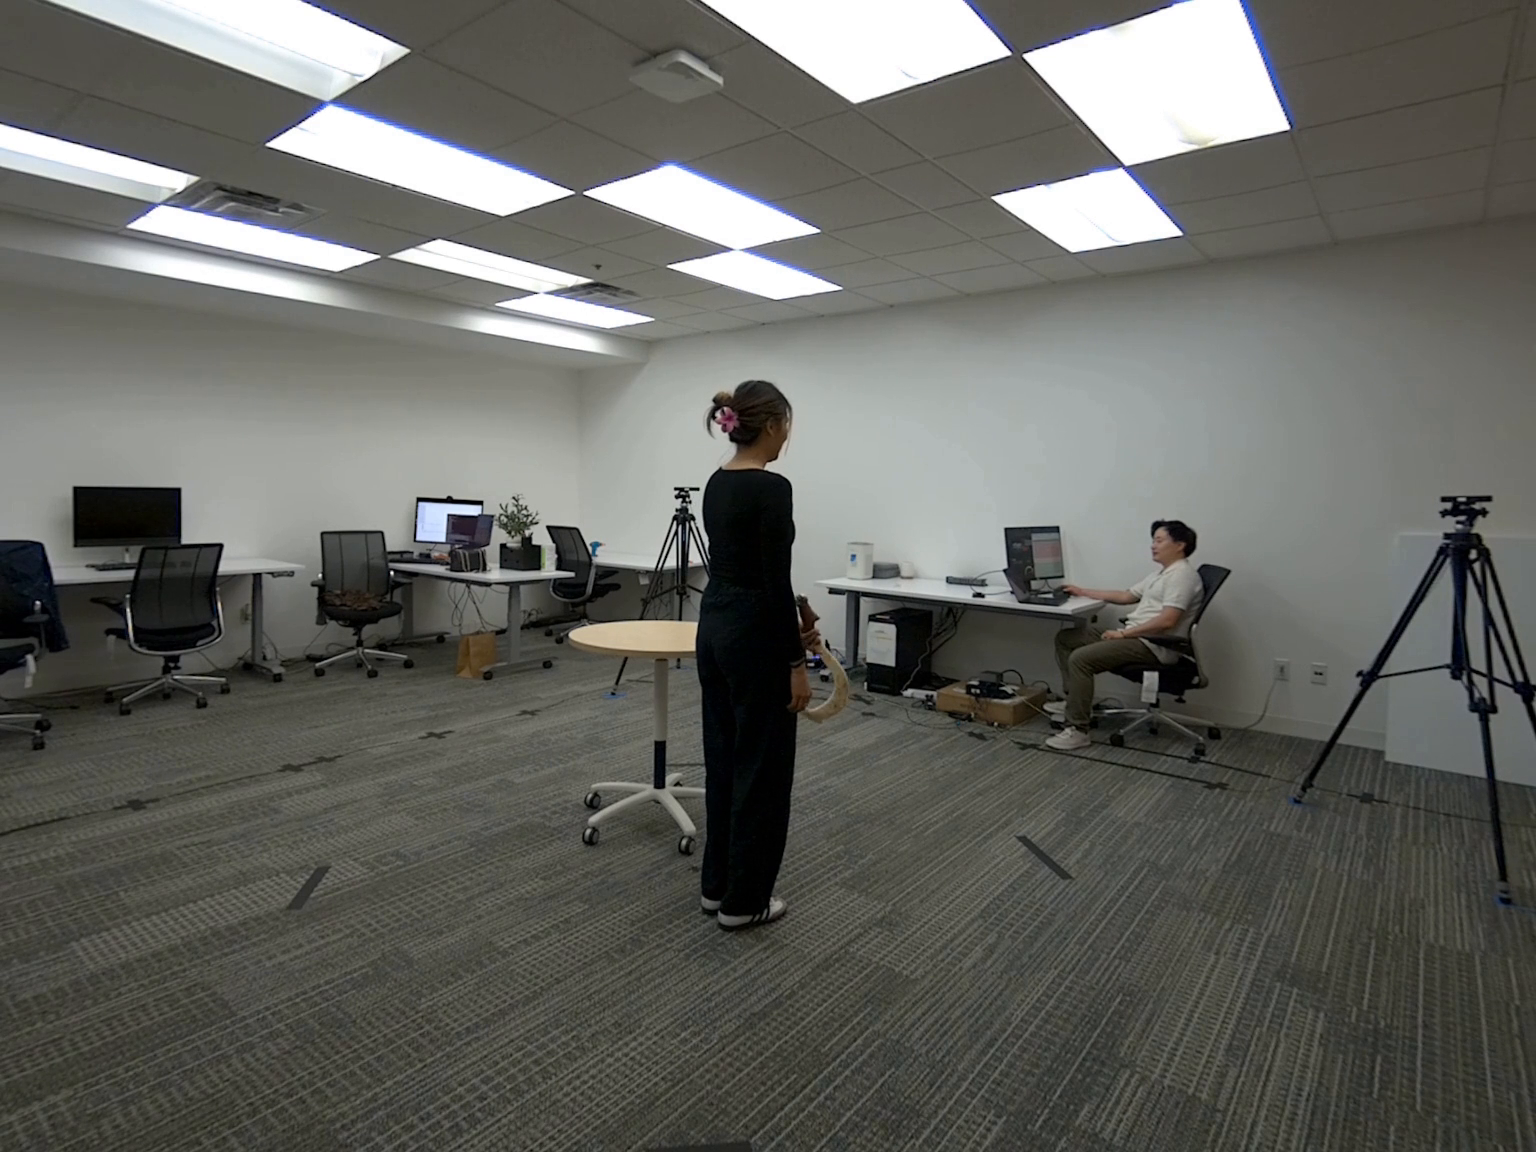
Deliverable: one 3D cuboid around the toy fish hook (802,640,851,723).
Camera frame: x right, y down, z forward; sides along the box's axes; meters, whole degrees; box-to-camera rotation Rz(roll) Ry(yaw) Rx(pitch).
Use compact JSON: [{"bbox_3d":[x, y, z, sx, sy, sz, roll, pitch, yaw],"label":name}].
[{"bbox_3d":[0.154,0.276,2.963,0.222,0.493,0.050,-29,25,-22],"label":"toy fish hook"}]
